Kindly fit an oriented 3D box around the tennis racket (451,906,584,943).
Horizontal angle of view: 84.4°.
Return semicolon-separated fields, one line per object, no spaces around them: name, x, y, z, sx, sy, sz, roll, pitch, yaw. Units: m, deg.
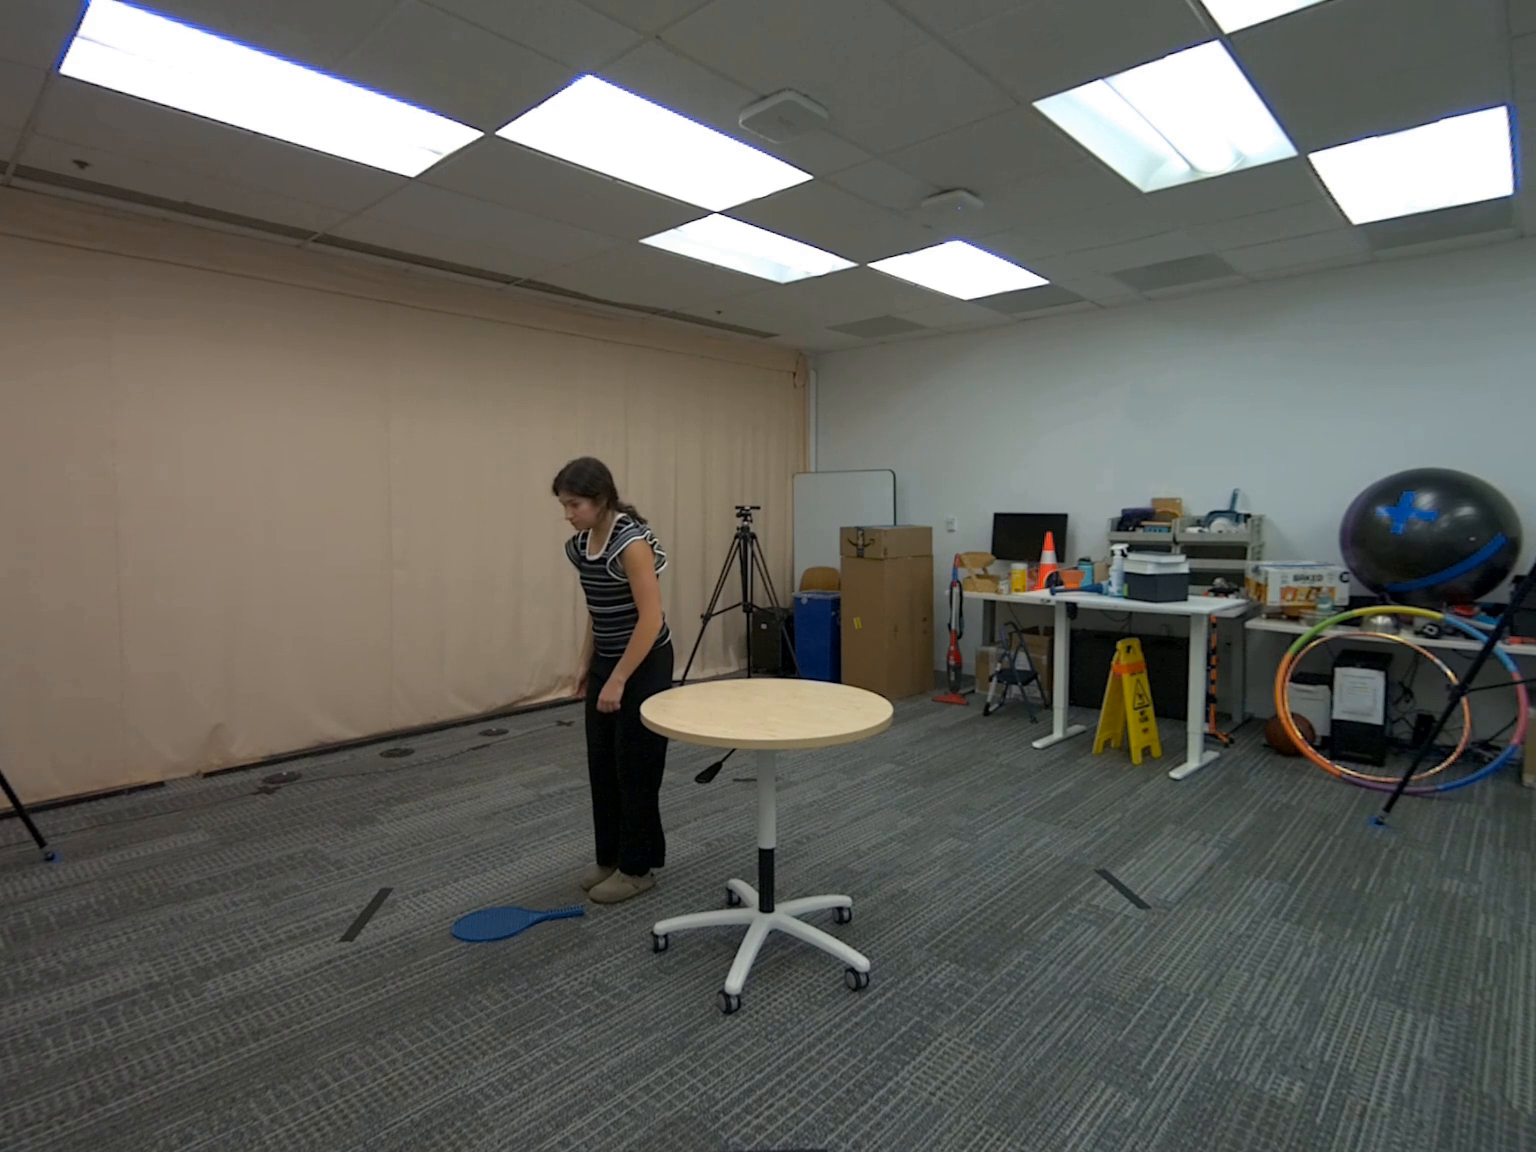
tennis racket;-0.836;1.153;2.822;0.426;0.031;0.218;-3;5;-16
